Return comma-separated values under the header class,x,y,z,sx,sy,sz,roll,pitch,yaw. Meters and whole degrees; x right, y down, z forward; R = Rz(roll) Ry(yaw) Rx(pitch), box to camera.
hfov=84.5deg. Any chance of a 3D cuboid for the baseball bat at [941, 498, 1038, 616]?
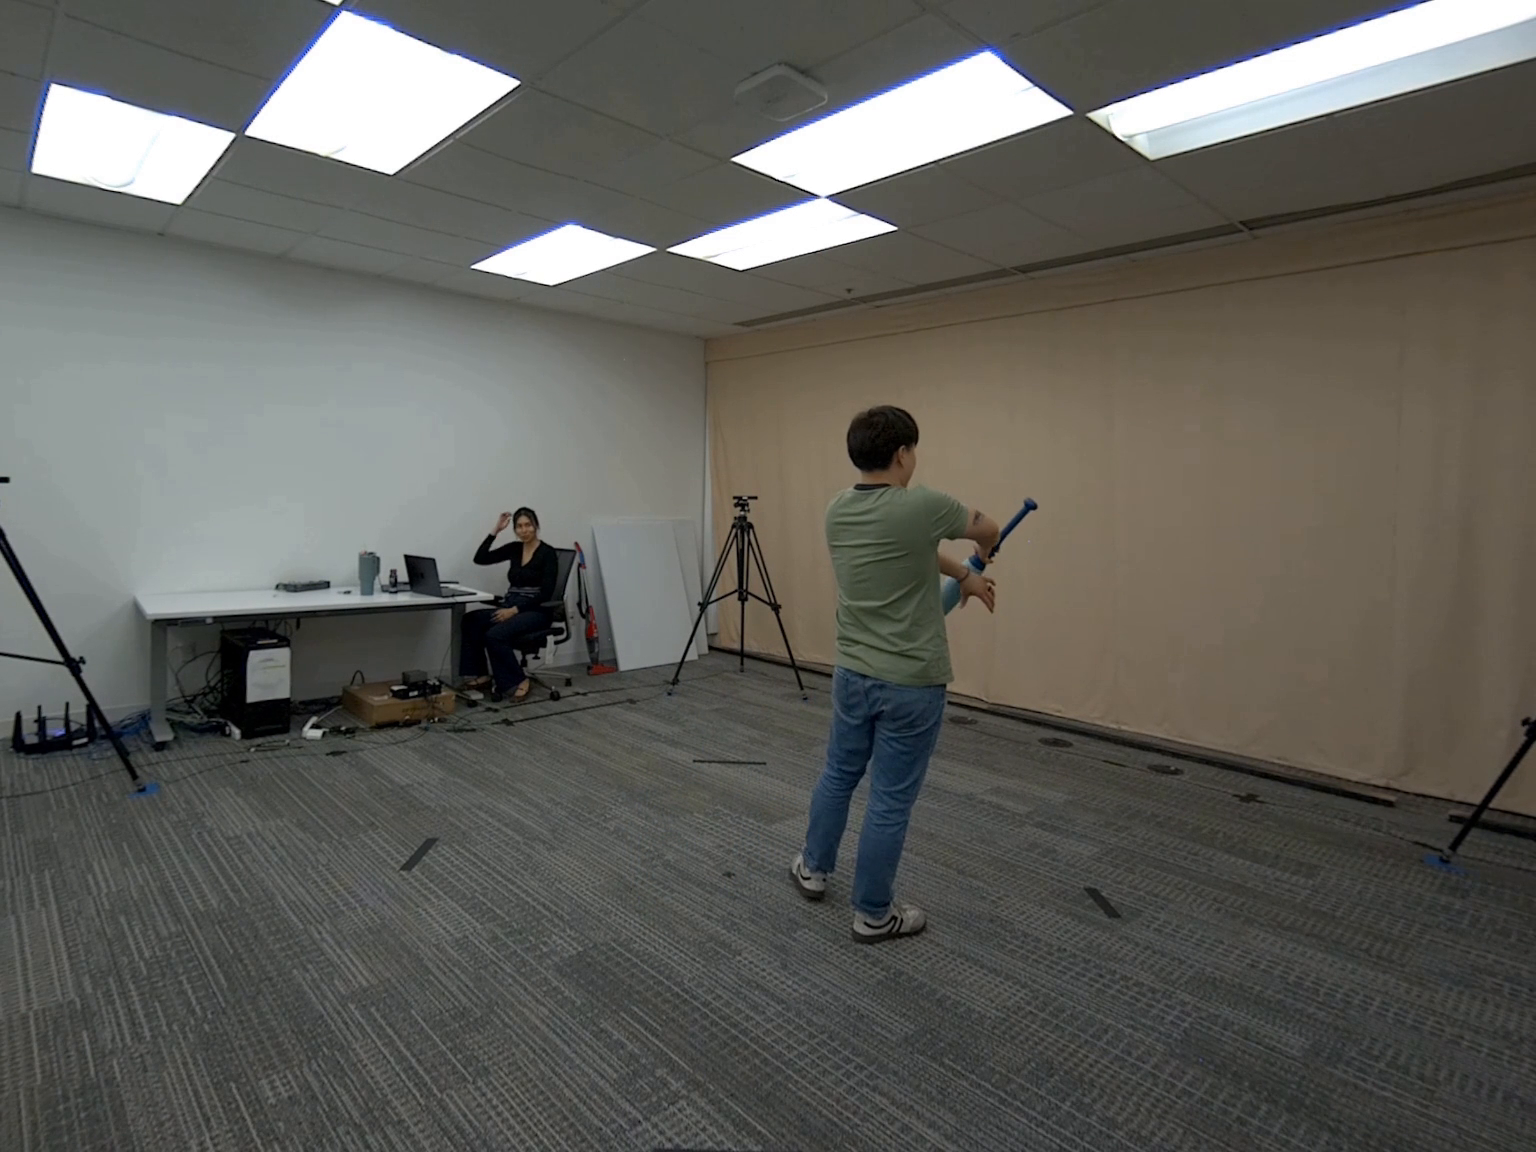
class,x,y,z,sx,sy,sz,roll,pitch,yaw
baseball bat,0.729,-0.055,2.915,0.087,0.541,0.091,29,26,-17
